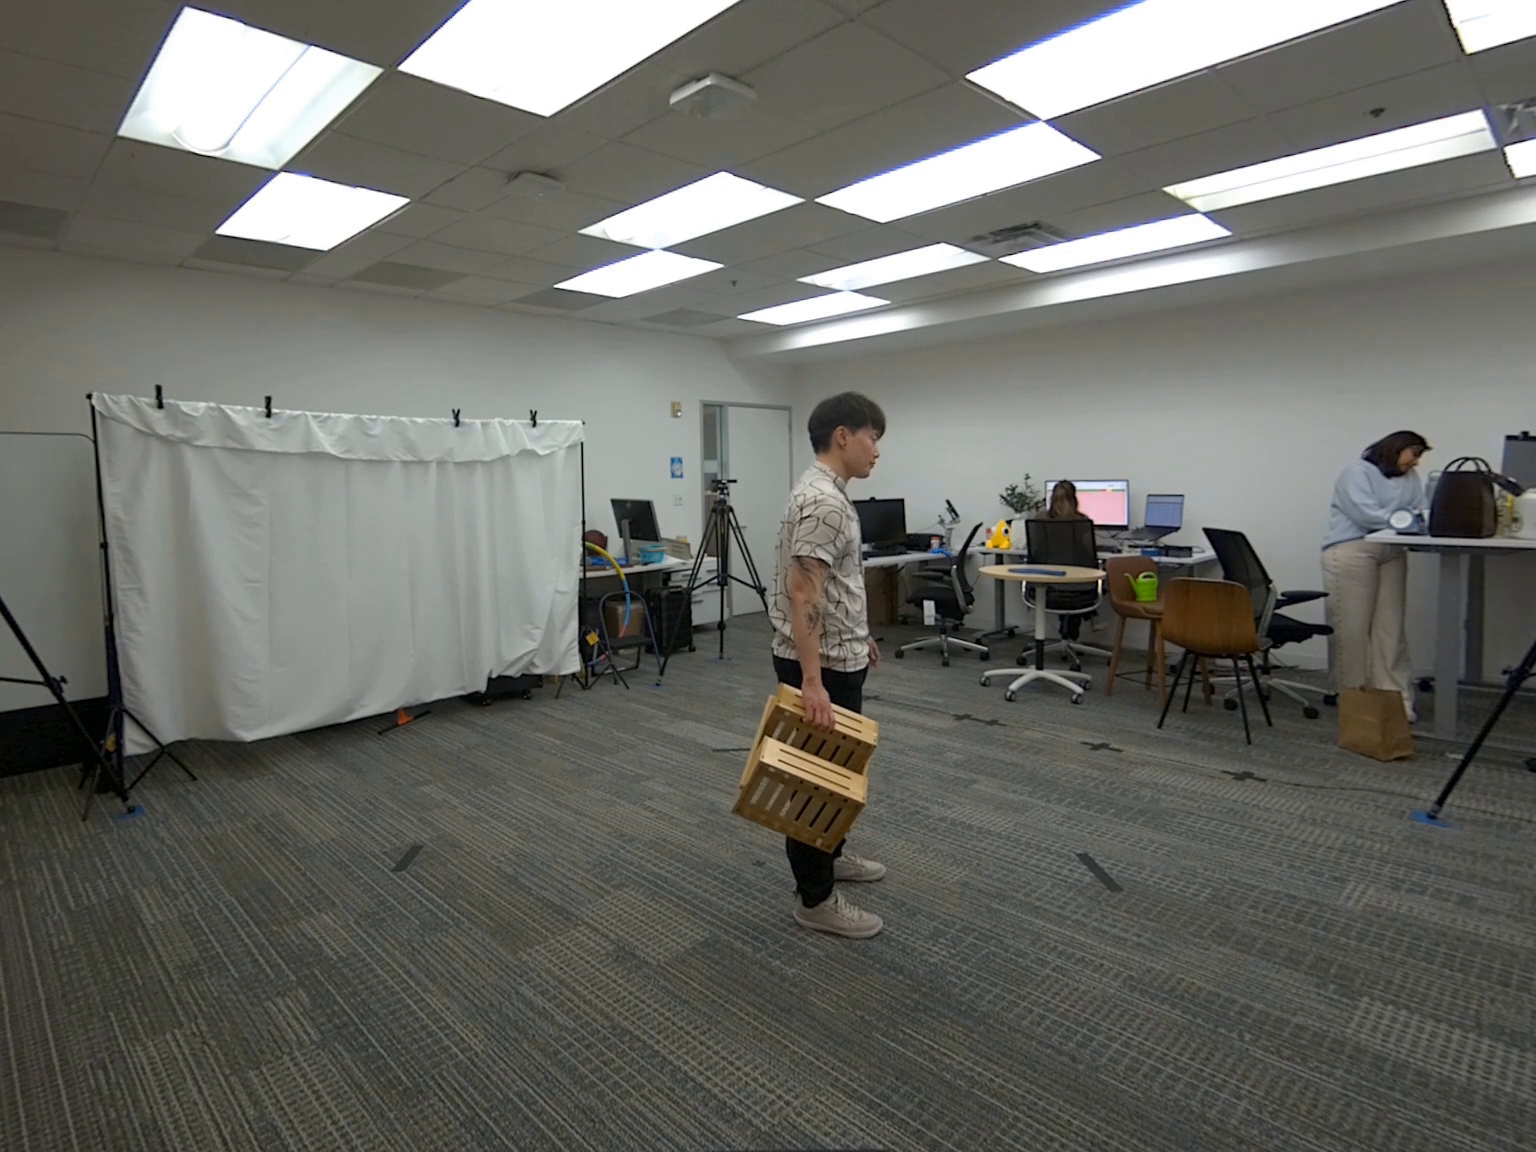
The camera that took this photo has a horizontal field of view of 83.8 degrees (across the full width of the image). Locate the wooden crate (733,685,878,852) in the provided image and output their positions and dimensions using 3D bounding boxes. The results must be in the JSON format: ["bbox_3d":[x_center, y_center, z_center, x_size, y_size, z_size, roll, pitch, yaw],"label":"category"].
[{"bbox_3d":[0.111,0.535,2.401,0.323,0.298,0.278,22,38,-3],"label":"wooden crate"}]
